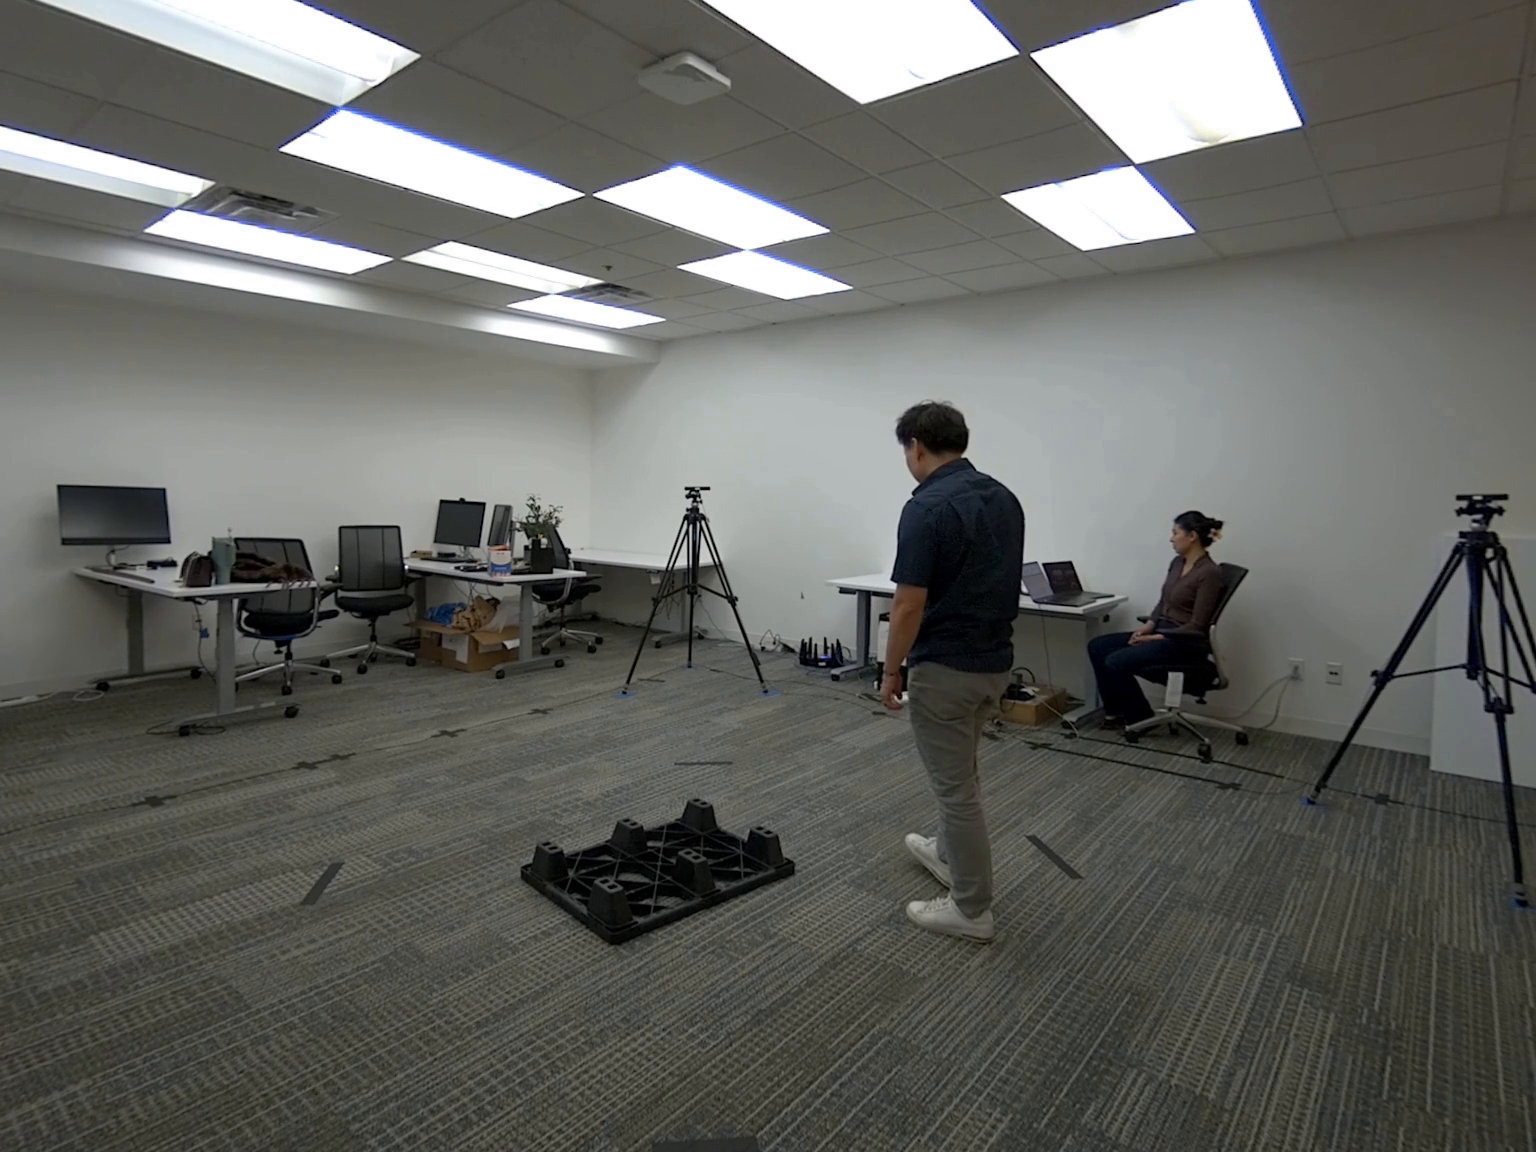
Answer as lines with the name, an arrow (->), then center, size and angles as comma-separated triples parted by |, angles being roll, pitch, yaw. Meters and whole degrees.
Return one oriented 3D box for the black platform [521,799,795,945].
black platform -> -0.399, 1.003, 3.047 | 0.781, 0.143, 0.626 | -4, 8, -43
